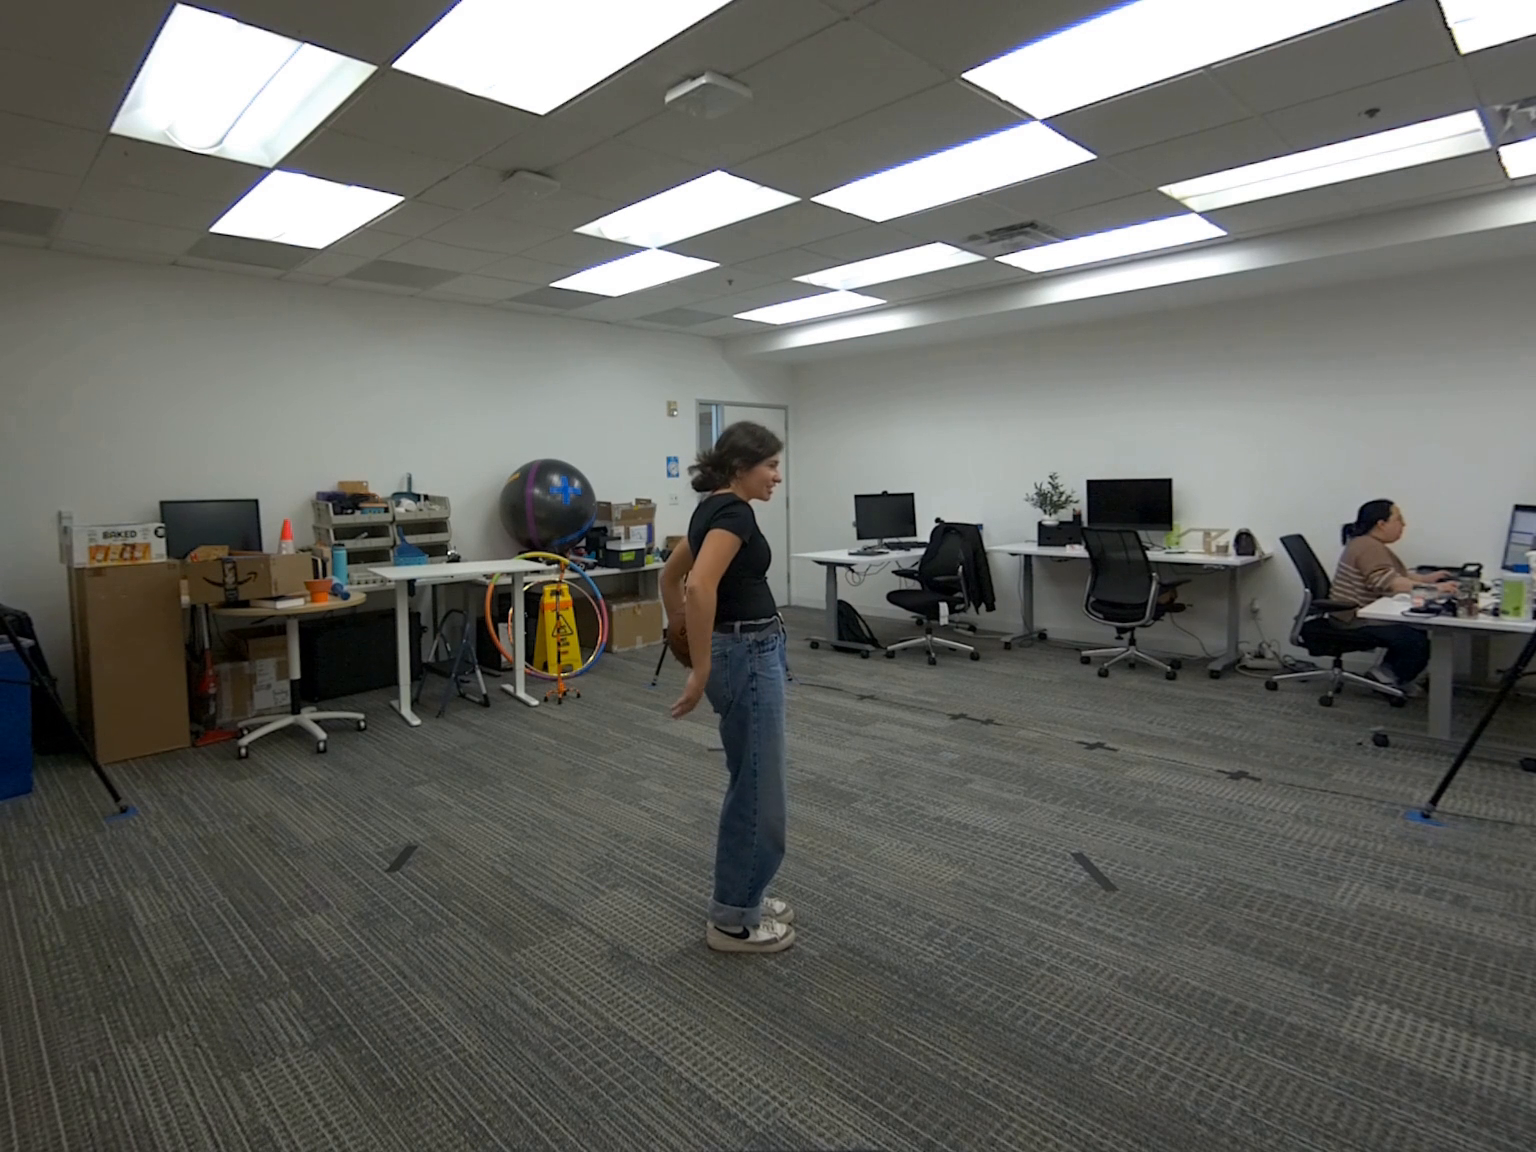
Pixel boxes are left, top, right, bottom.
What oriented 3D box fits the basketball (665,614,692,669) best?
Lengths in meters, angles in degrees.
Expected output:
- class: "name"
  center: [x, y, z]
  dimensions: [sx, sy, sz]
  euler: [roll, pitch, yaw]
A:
- class: "basketball"
  center: [-0.207, 0.184, 2.788]
  dimensions: [0.236, 0.235, 0.237]
  euler: [-1, 5, -2]
